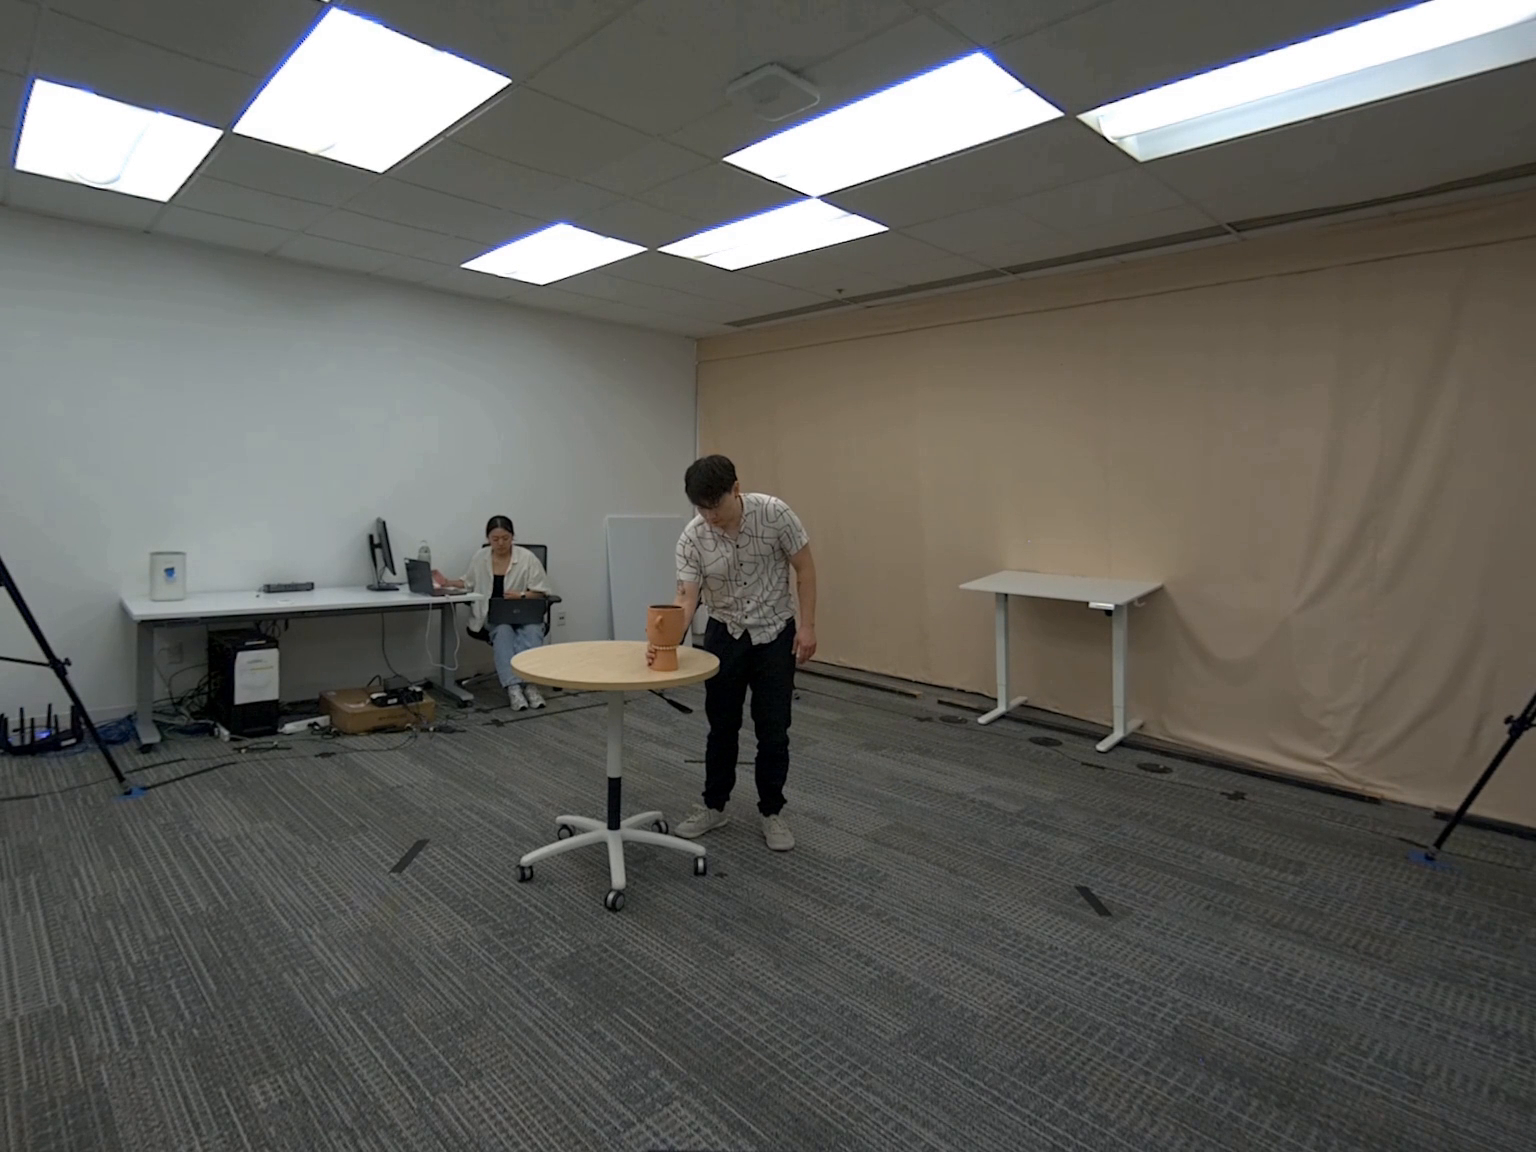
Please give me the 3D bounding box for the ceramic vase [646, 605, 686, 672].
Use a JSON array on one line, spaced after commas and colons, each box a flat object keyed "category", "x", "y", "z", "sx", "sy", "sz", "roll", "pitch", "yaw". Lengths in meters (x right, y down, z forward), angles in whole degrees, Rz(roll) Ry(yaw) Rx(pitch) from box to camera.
[{"category": "ceramic vase", "x": -0.377, "y": 0.221, "z": 2.977, "sx": 0.155, "sy": 0.219, "sz": 0.138, "roll": -1, "pitch": 5, "yaw": -37}]
